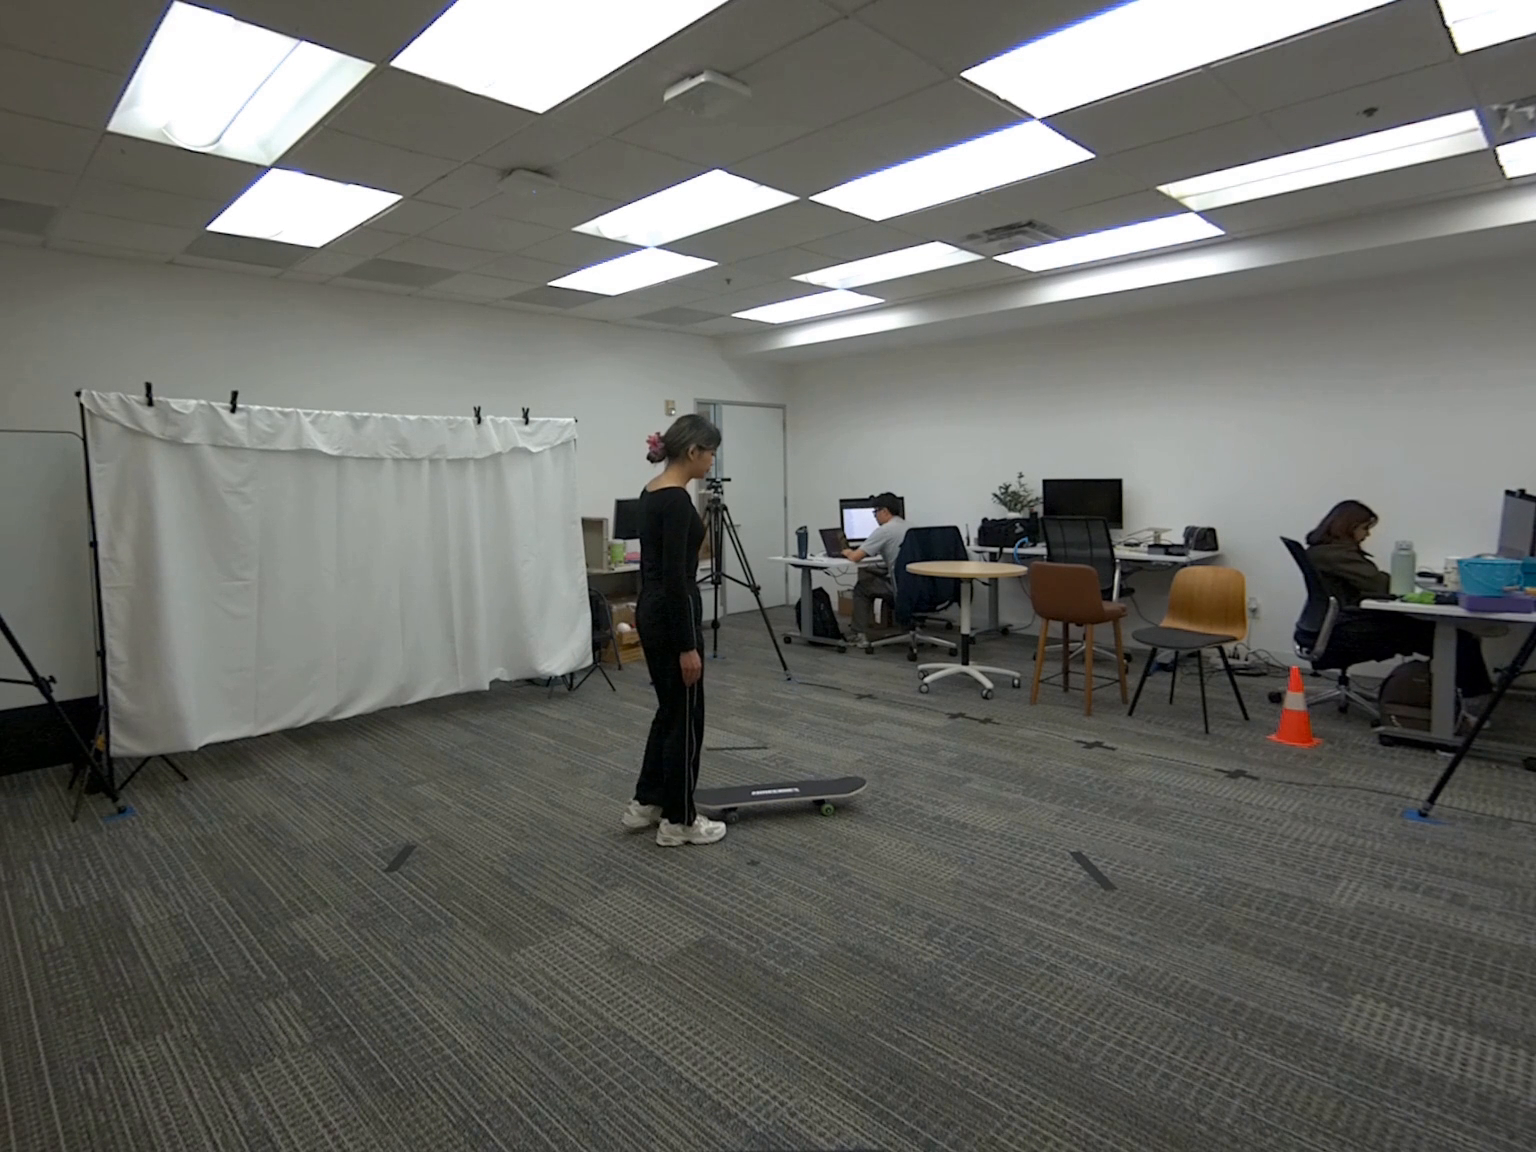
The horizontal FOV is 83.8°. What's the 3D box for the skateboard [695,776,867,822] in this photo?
[{"bbox_3d":[0.031,0.933,3.572,0.778,0.110,0.196,-2,8,-9],"label":"skateboard"}]
